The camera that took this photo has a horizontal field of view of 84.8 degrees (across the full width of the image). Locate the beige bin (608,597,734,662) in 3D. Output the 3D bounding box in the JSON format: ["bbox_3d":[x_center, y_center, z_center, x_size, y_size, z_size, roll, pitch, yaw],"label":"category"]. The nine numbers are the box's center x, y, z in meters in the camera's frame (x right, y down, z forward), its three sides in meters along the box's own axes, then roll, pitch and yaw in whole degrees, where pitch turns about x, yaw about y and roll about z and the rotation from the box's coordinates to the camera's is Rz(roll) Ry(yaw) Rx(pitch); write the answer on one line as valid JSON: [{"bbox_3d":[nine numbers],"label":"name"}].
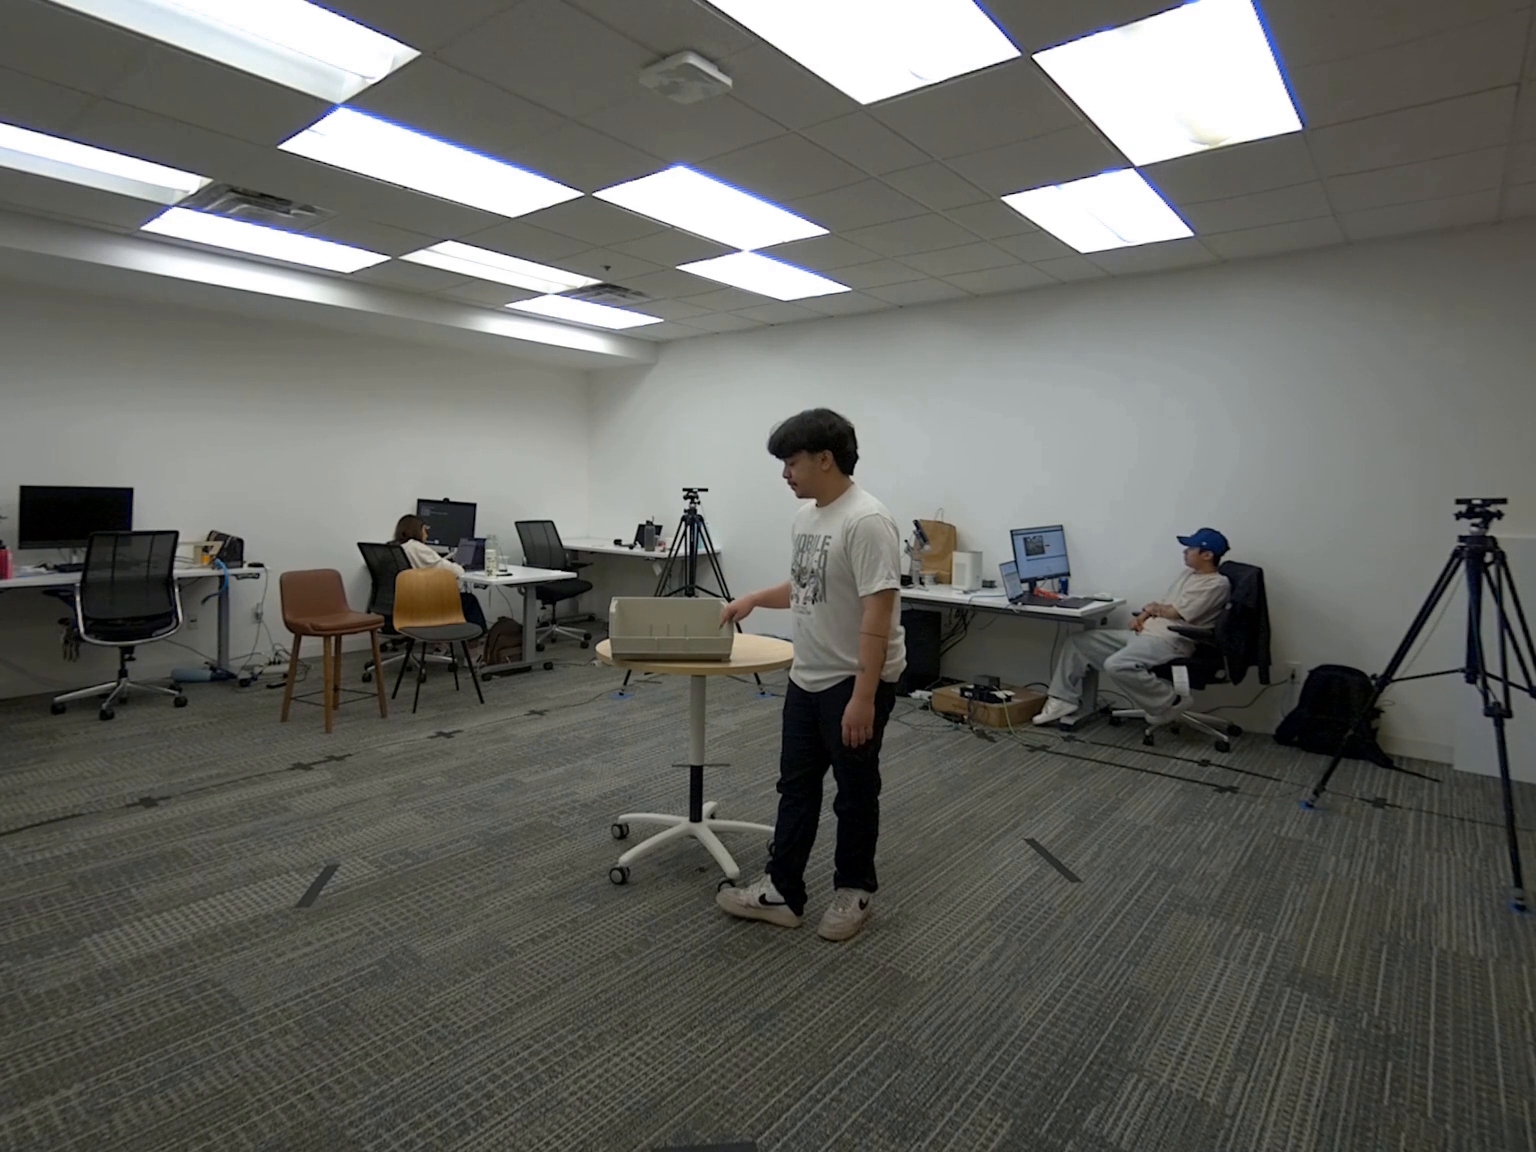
[{"bbox_3d":[-0.358,0.188,3.020,0.419,0.188,0.381,1,4,-7],"label":"beige bin"}]
